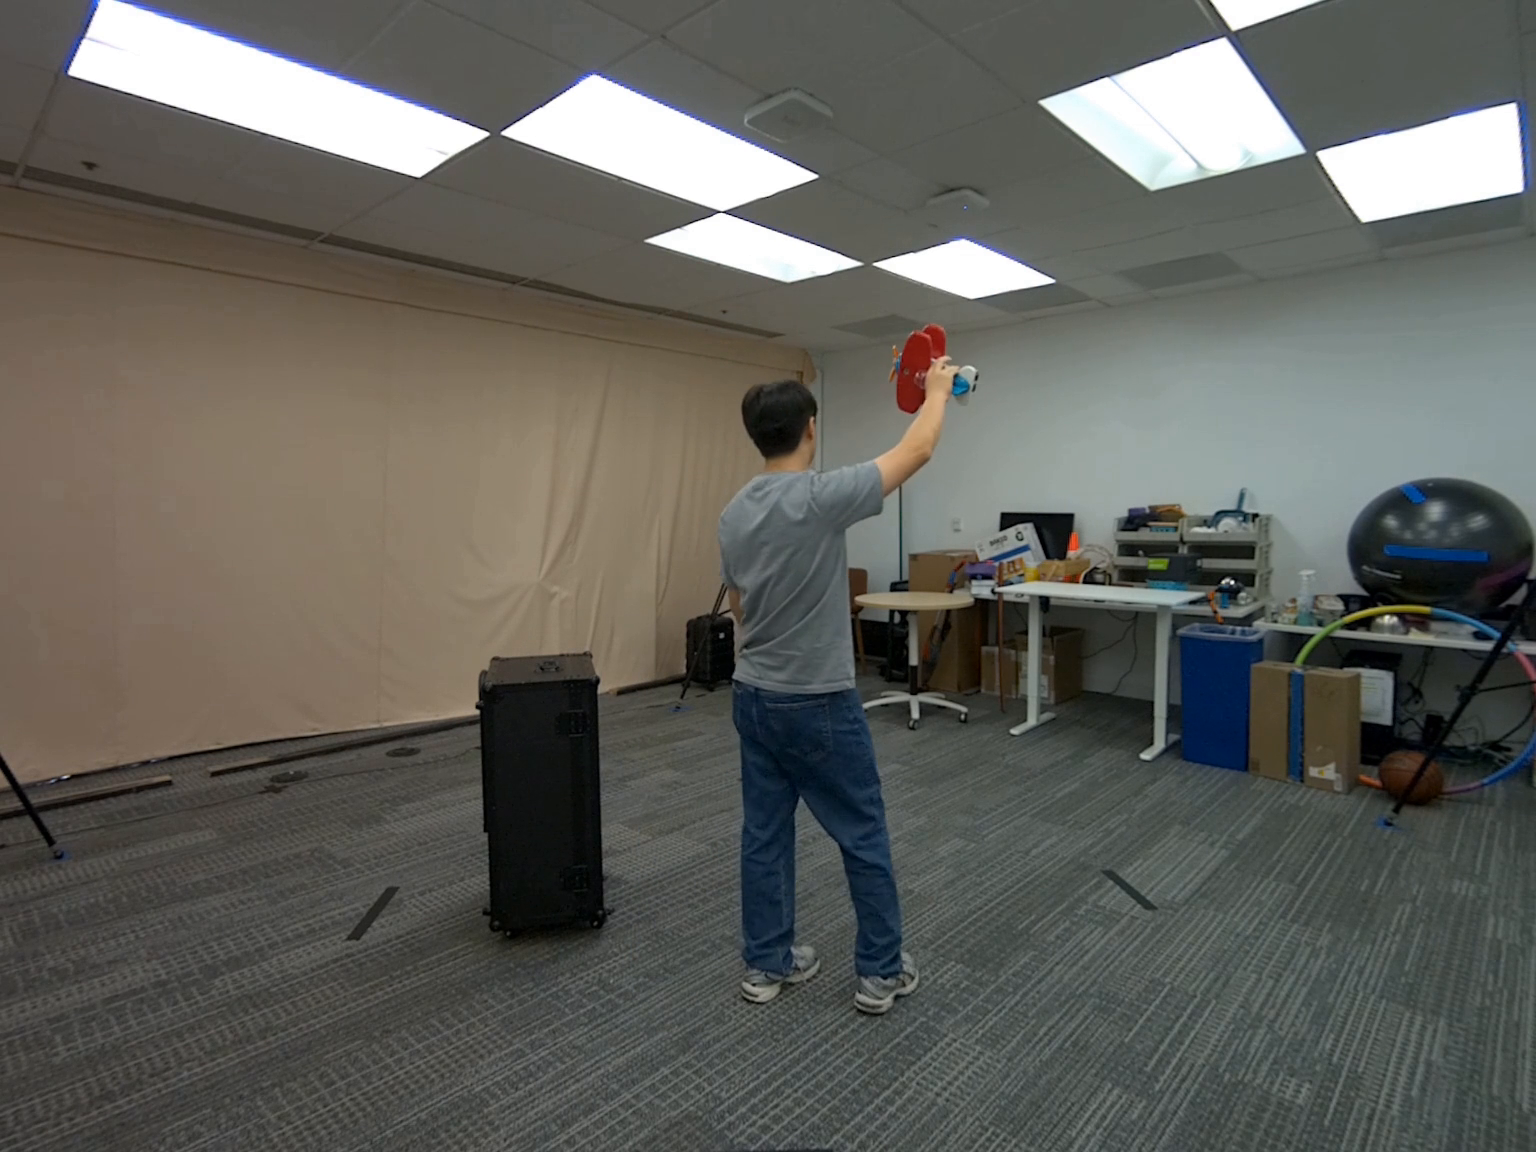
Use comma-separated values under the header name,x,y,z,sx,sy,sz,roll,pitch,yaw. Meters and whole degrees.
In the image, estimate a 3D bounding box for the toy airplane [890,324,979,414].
name,x,y,z,sx,sy,sz,roll,pitch,yaw
toy airplane,0.490,-0.620,2.507,0.153,0.248,0.267,-21,17,-29
